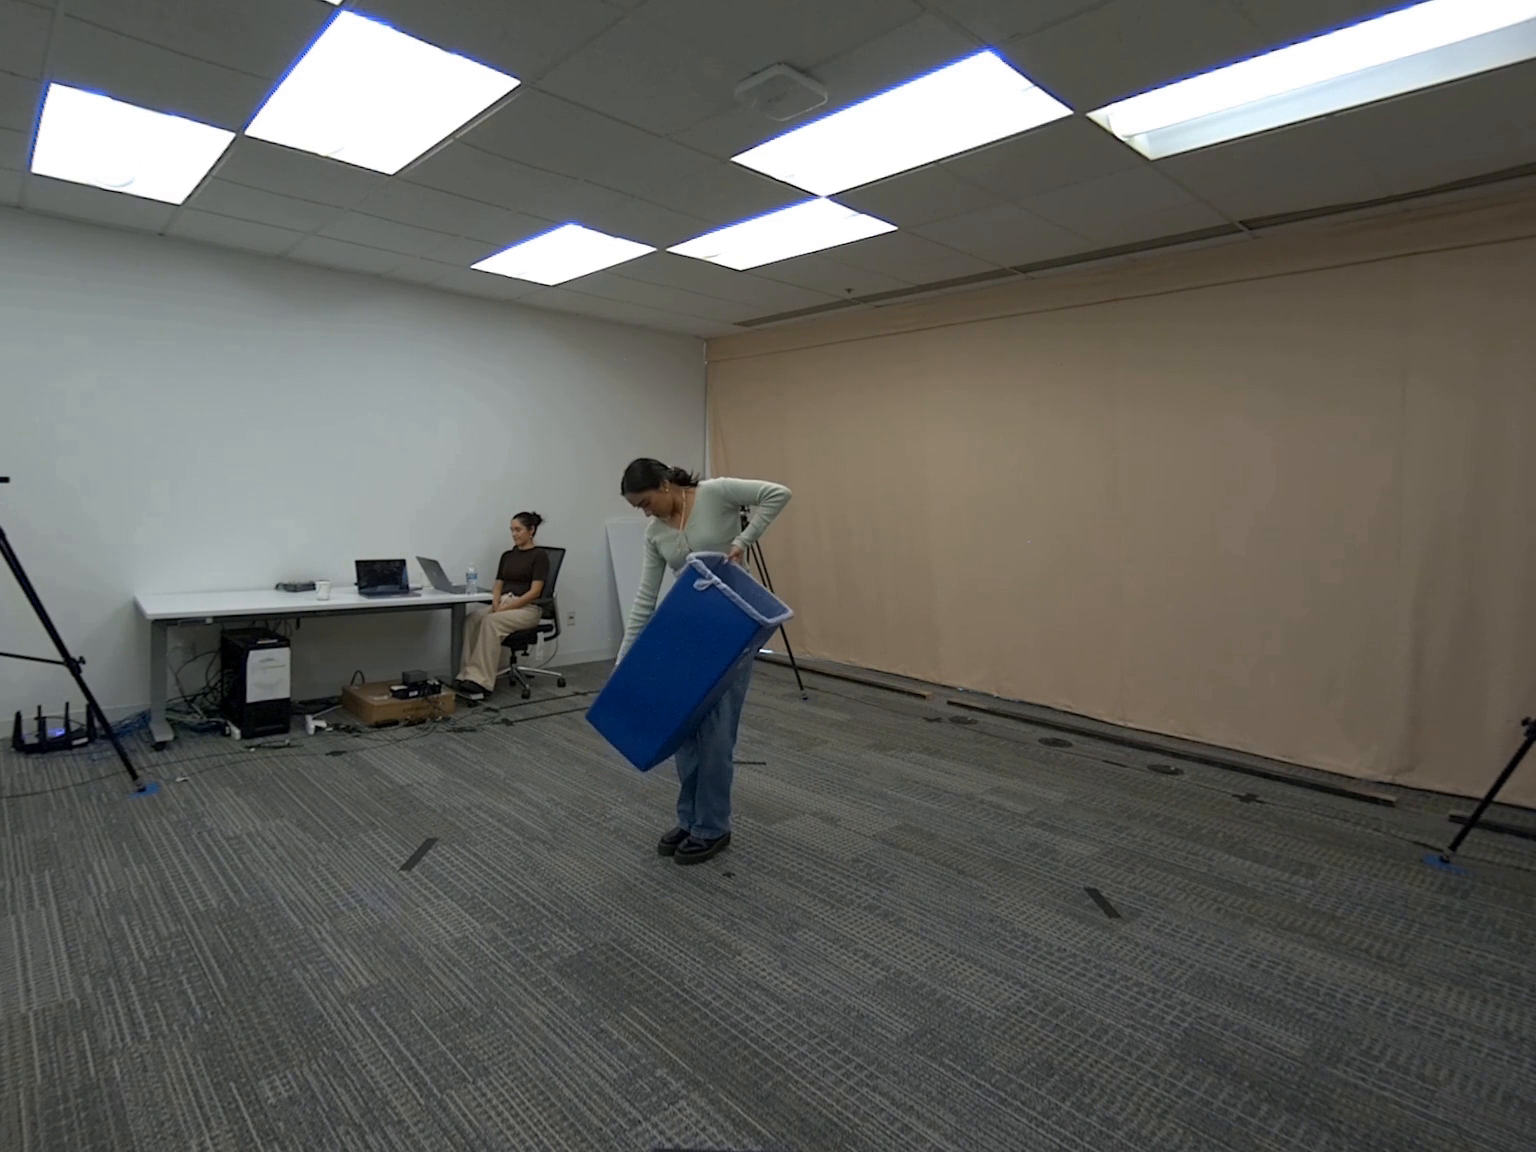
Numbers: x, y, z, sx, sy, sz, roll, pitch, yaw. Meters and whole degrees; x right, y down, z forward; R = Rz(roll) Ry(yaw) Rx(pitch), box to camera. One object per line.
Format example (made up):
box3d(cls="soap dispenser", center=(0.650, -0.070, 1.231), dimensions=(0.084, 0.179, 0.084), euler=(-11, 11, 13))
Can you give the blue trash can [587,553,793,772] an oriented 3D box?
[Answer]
box3d(cls="blue trash can", center=(-0.300, 0.305, 3.027), dimensions=(0.384, 0.712, 0.368), euler=(40, 12, 14))
